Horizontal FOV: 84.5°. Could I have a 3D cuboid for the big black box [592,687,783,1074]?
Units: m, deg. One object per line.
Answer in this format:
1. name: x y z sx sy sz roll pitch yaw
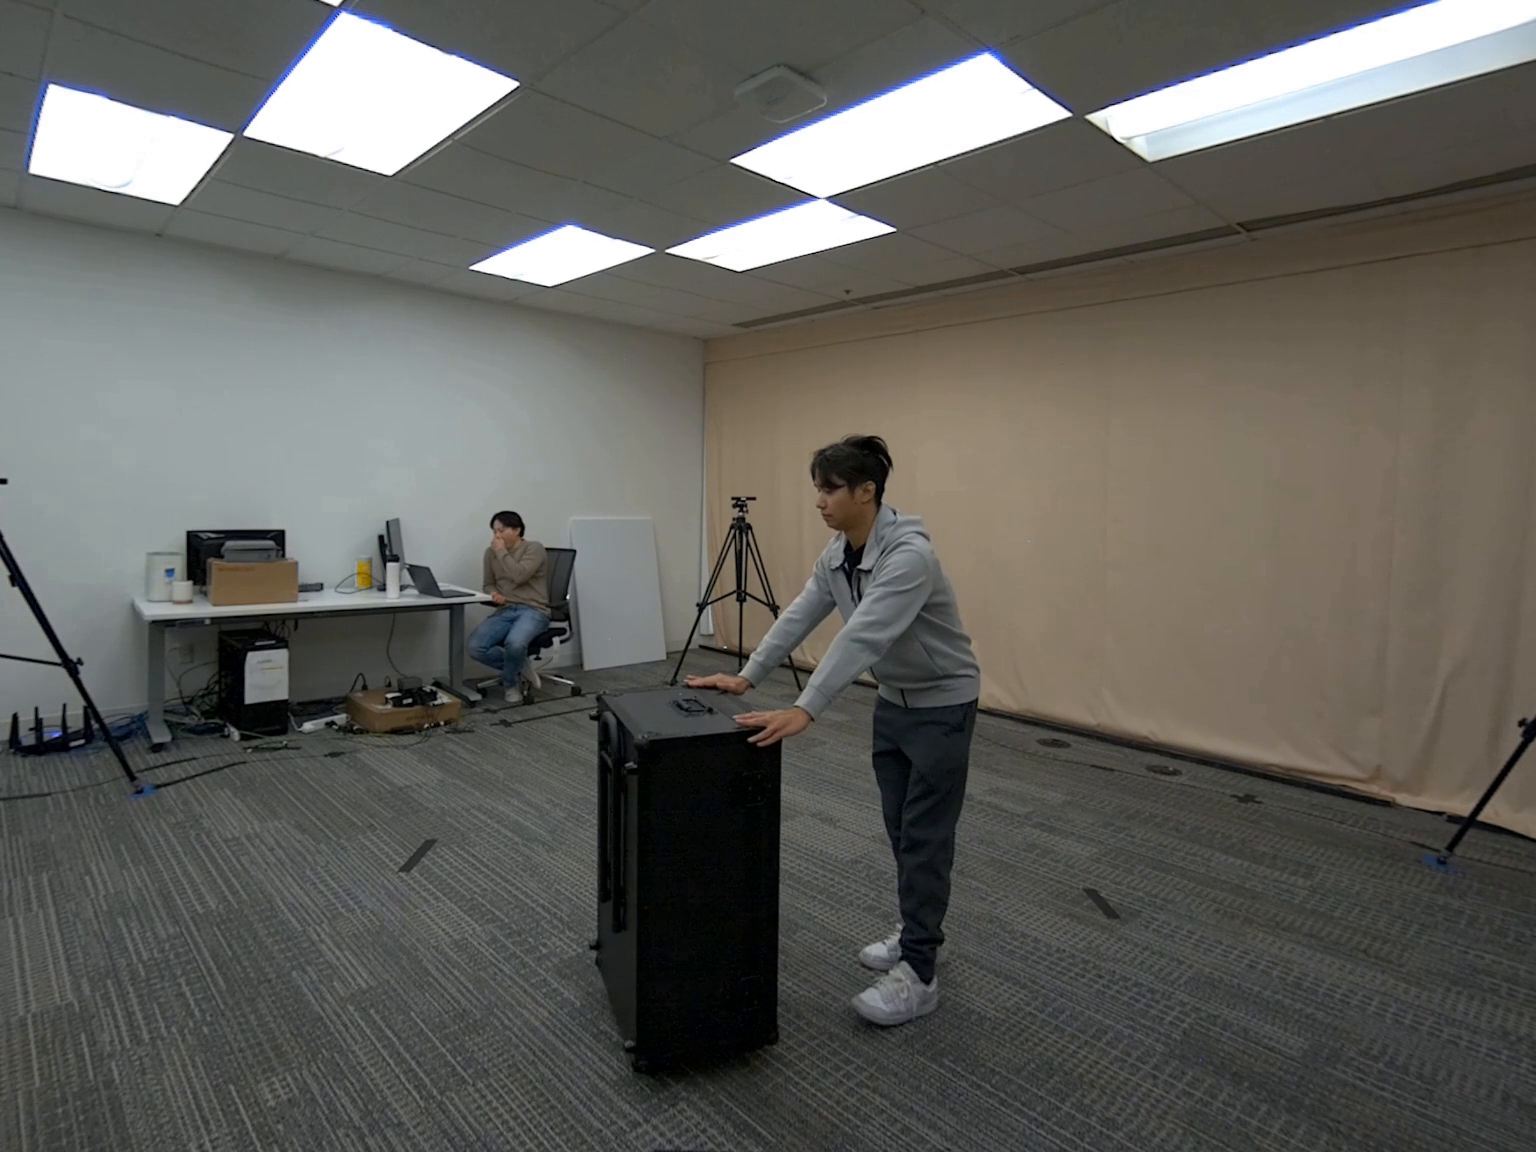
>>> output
1. big black box: -0.239 0.772 2.172 0.390 0.858 0.531 -2 5 -22
